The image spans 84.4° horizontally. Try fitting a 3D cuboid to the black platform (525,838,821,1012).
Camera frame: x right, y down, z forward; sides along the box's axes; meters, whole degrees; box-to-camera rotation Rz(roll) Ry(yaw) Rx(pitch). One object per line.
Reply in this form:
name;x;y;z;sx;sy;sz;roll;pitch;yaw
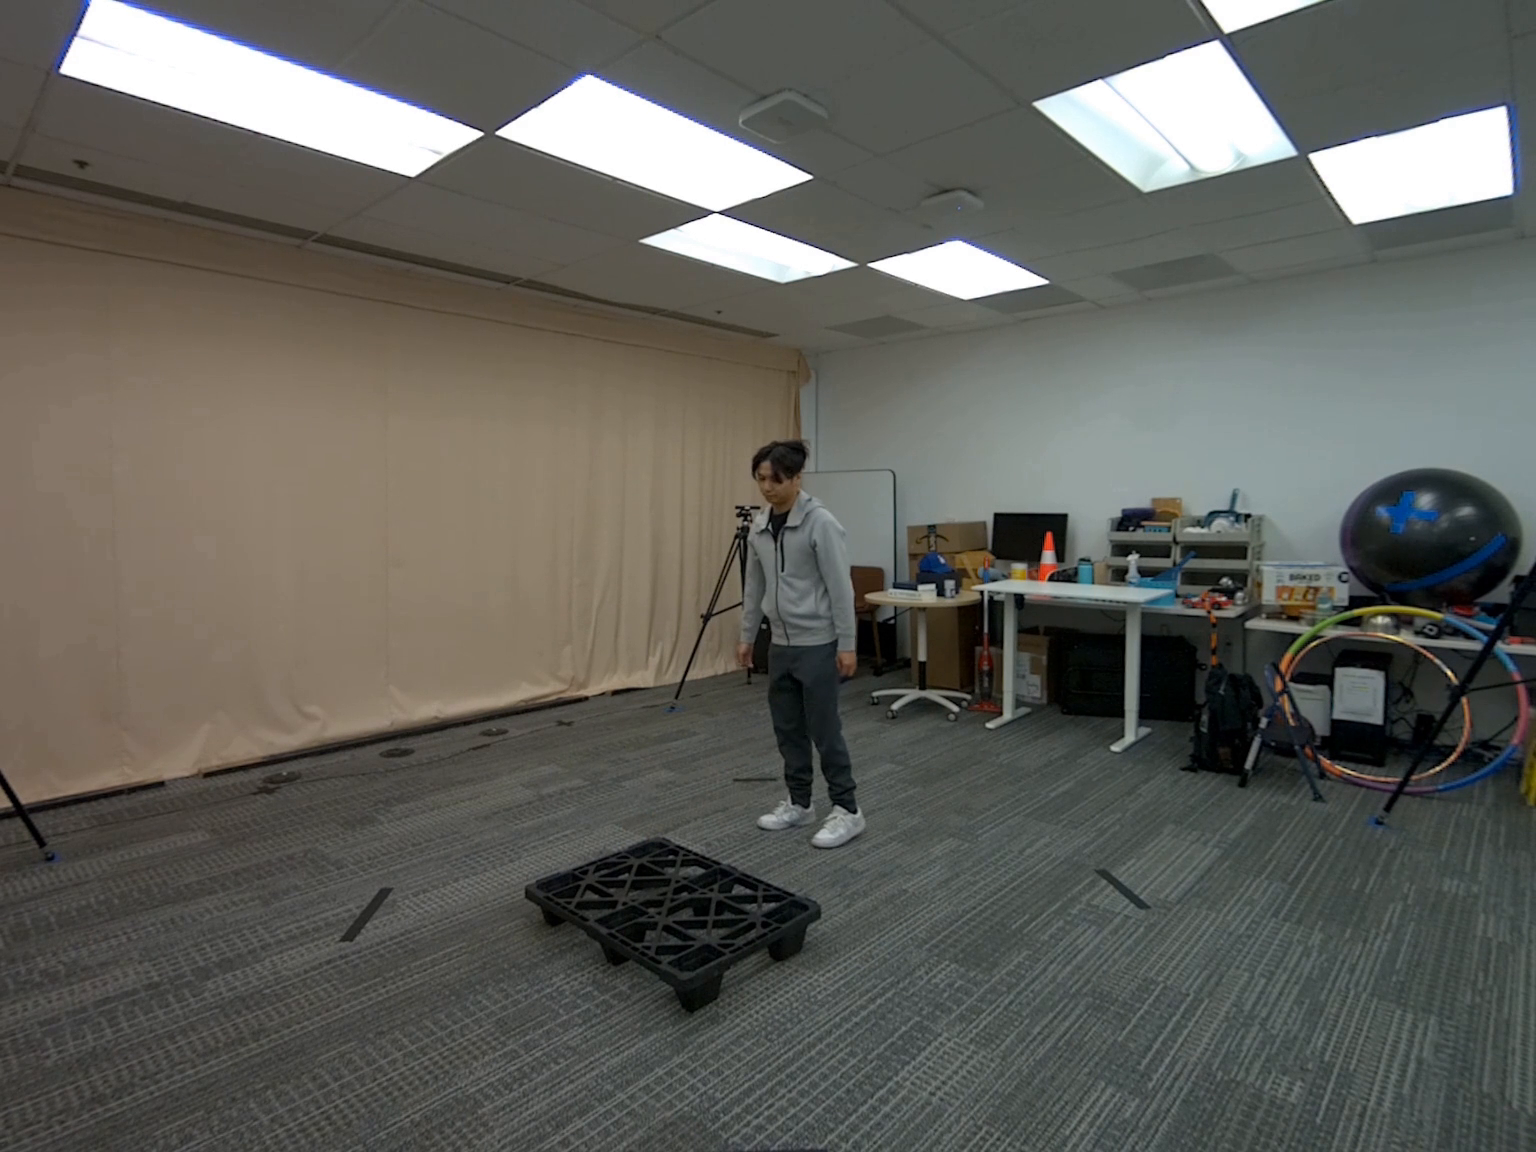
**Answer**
black platform;-0.321;1.101;2.733;0.833;0.143;0.586;4;6;44
